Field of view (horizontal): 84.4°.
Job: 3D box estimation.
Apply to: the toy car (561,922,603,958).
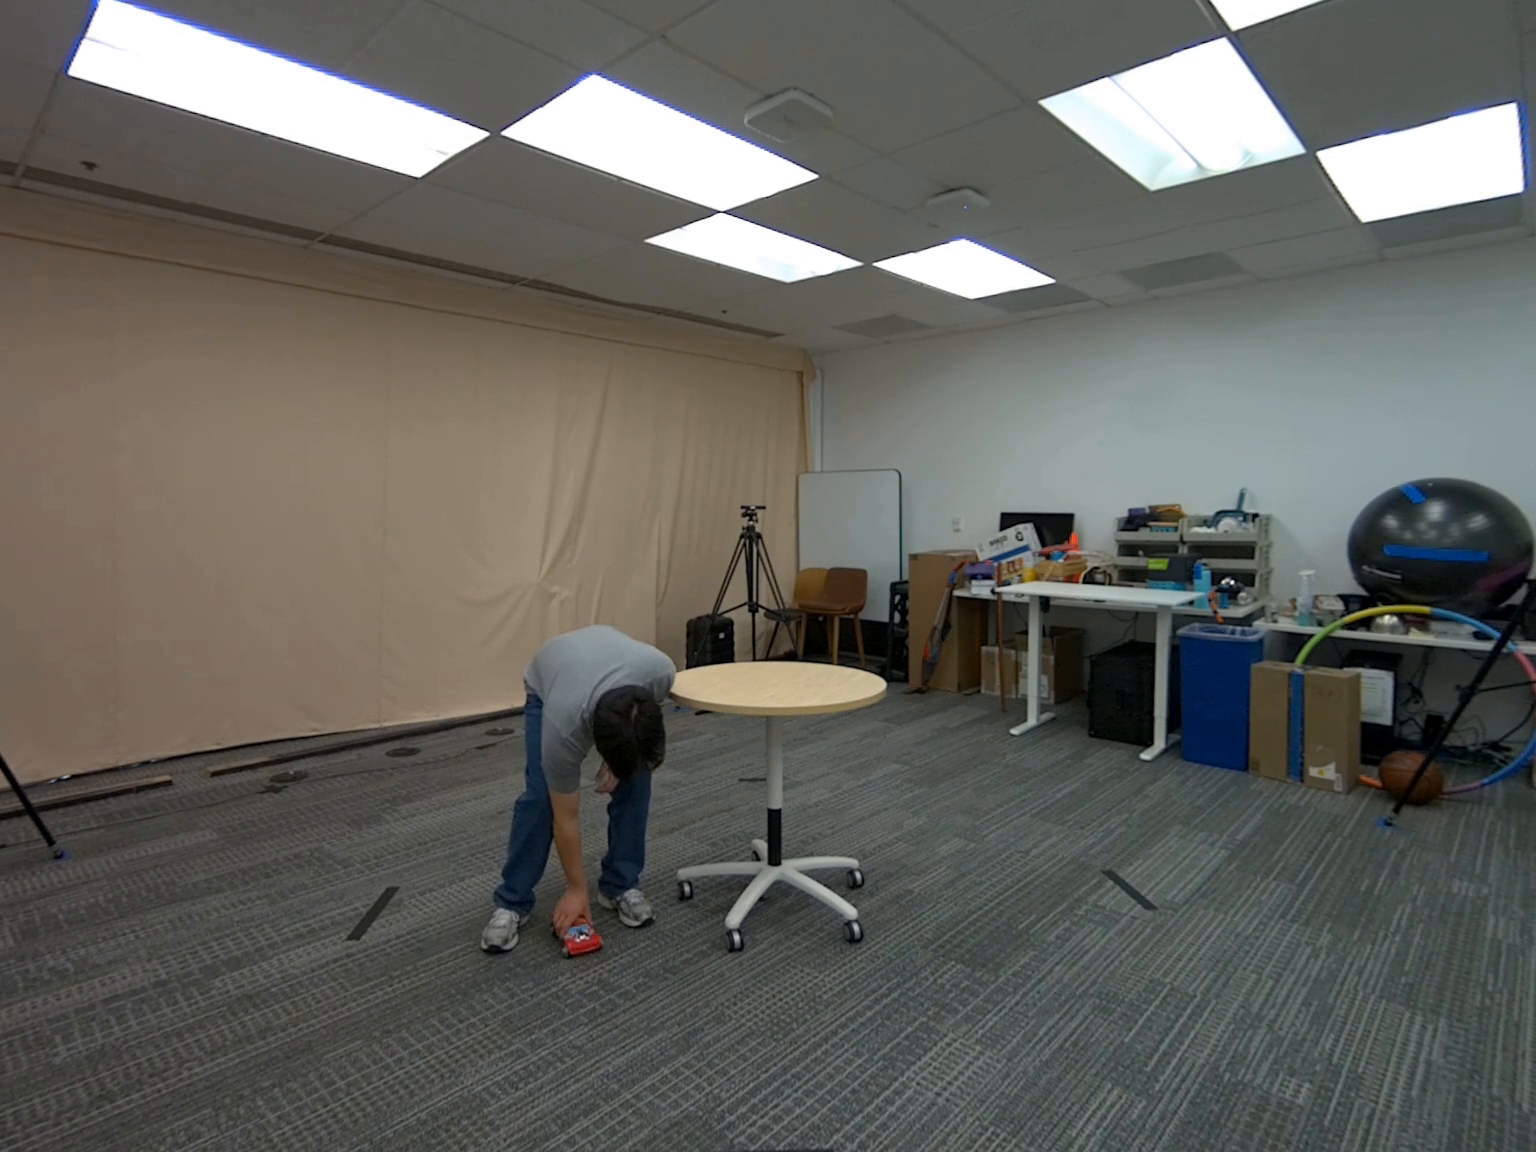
[{"bbox_3d":[-0.621,1.144,2.701,0.127,0.083,0.262,-2,13,-27],"label":"toy car"}]
